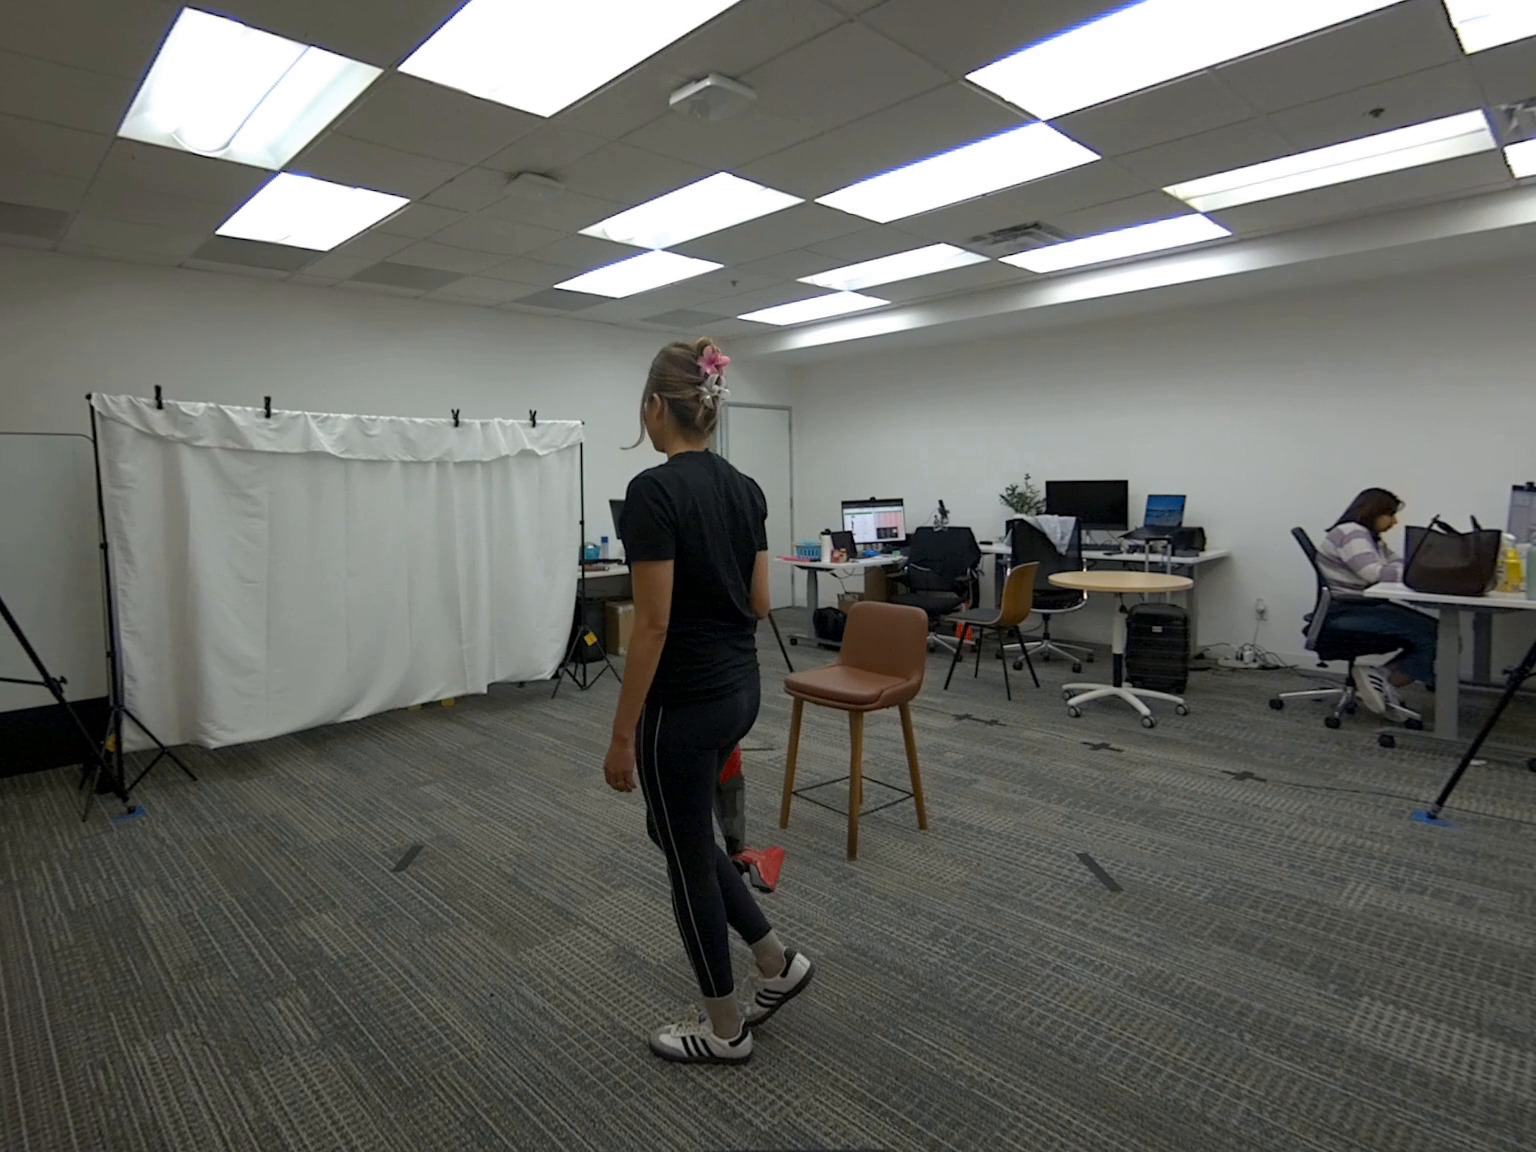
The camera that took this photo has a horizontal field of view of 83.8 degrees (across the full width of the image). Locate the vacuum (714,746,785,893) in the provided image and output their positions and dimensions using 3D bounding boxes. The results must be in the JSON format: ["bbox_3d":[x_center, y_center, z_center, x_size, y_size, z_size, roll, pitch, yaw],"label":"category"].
[{"bbox_3d":[-0.178,0.332,2.421,0.145,1.052,0.249,-17,-2,14],"label":"vacuum"}]
